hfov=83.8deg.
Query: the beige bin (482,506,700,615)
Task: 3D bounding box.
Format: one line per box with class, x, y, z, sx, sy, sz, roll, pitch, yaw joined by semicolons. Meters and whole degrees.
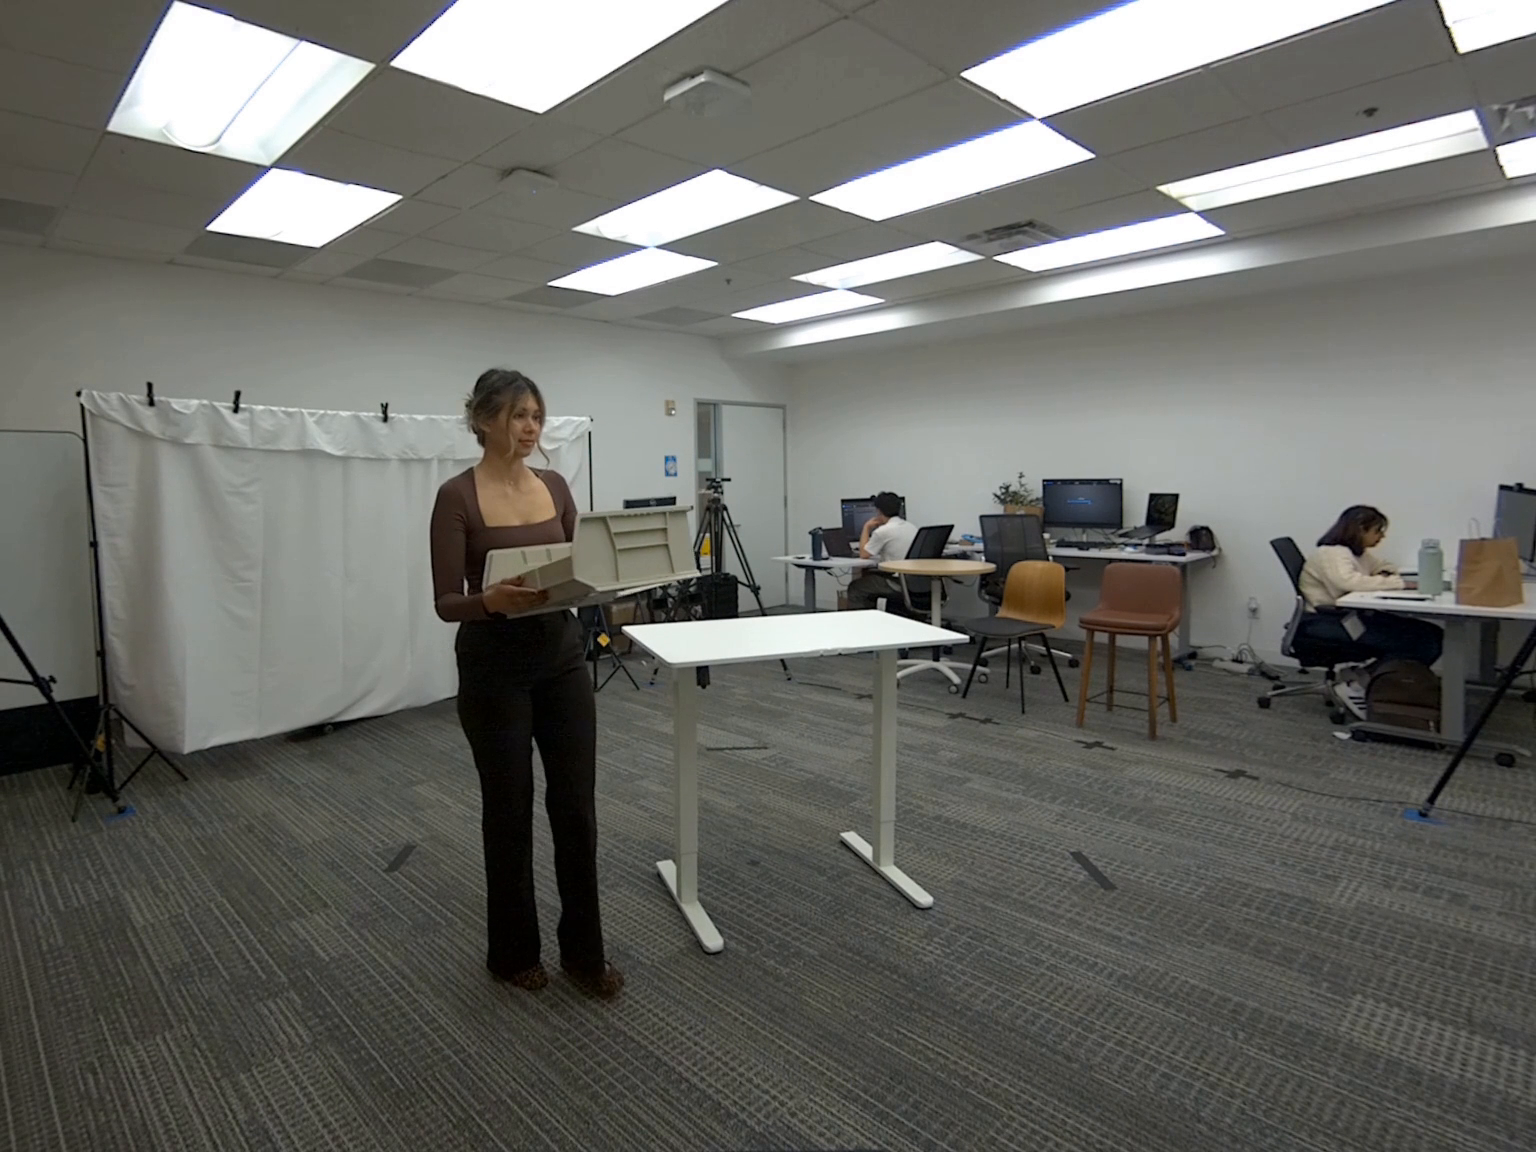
beige bin;-0.439;-0.028;2.112;0.368;0.190;0.431;-8;-5;-44
